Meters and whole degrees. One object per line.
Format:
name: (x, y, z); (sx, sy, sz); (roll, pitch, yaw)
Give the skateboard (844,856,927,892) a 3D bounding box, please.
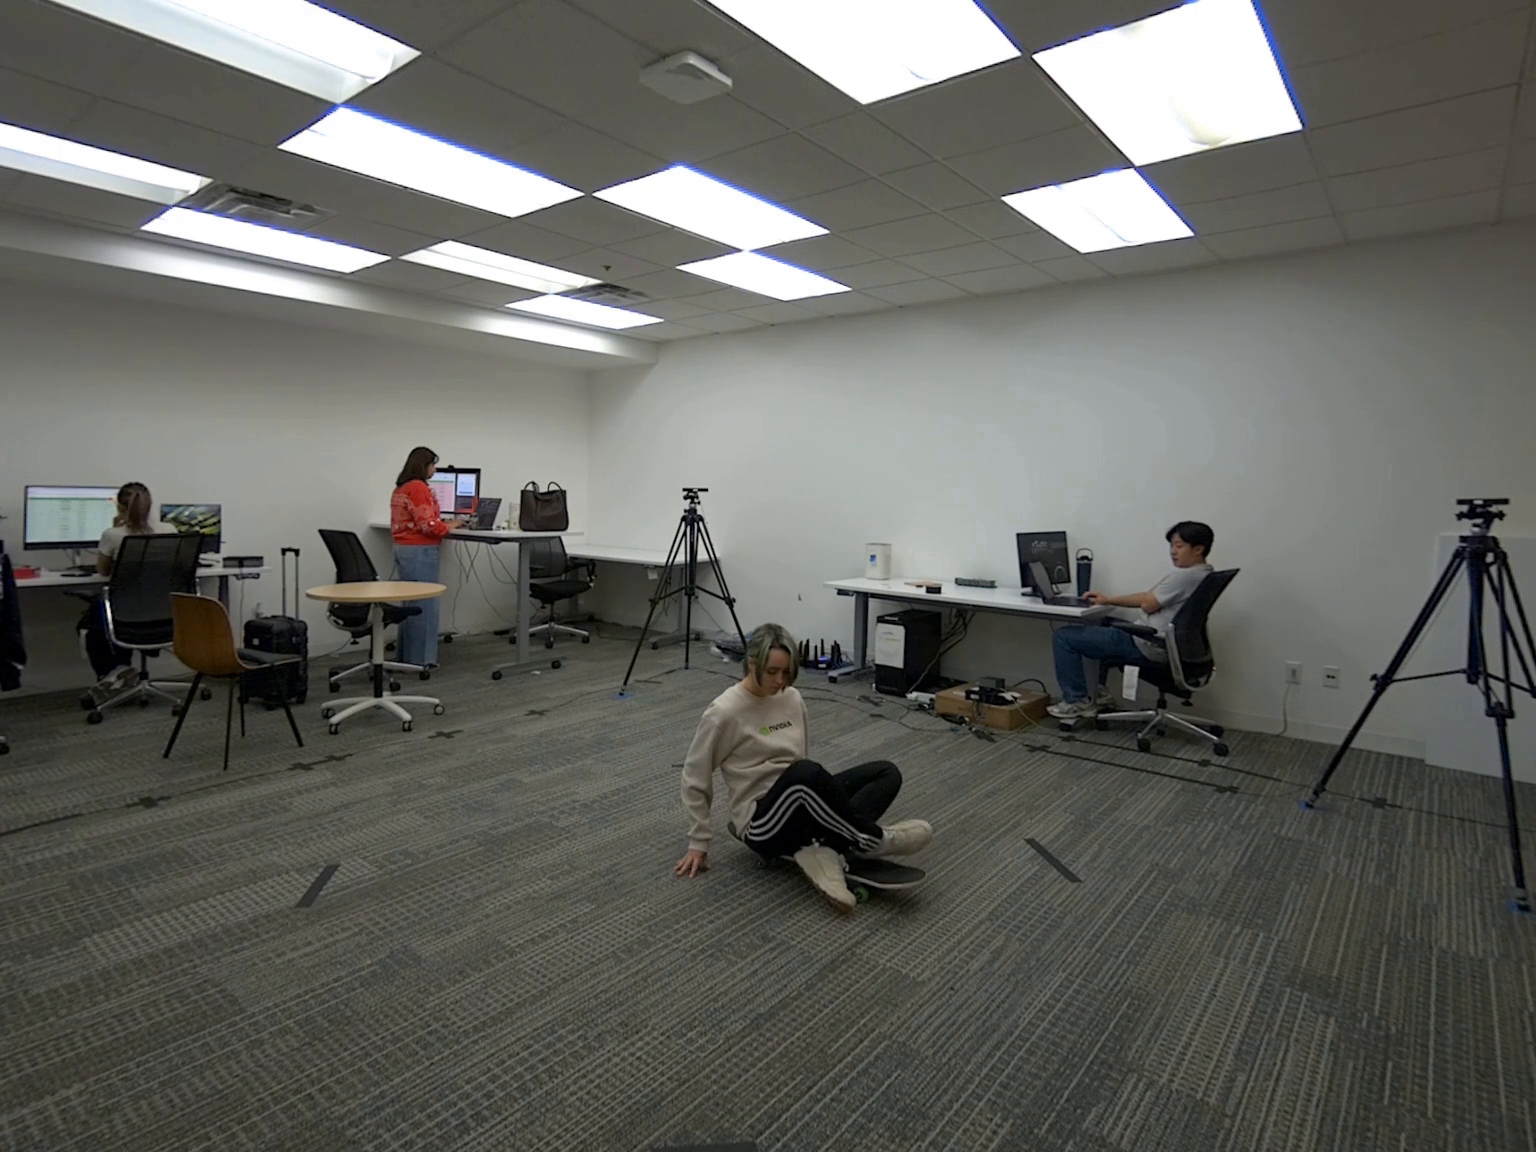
skateboard: (0.189, 1.028, 3.061); (0.809, 0.110, 0.188); (2, 3, 32)
